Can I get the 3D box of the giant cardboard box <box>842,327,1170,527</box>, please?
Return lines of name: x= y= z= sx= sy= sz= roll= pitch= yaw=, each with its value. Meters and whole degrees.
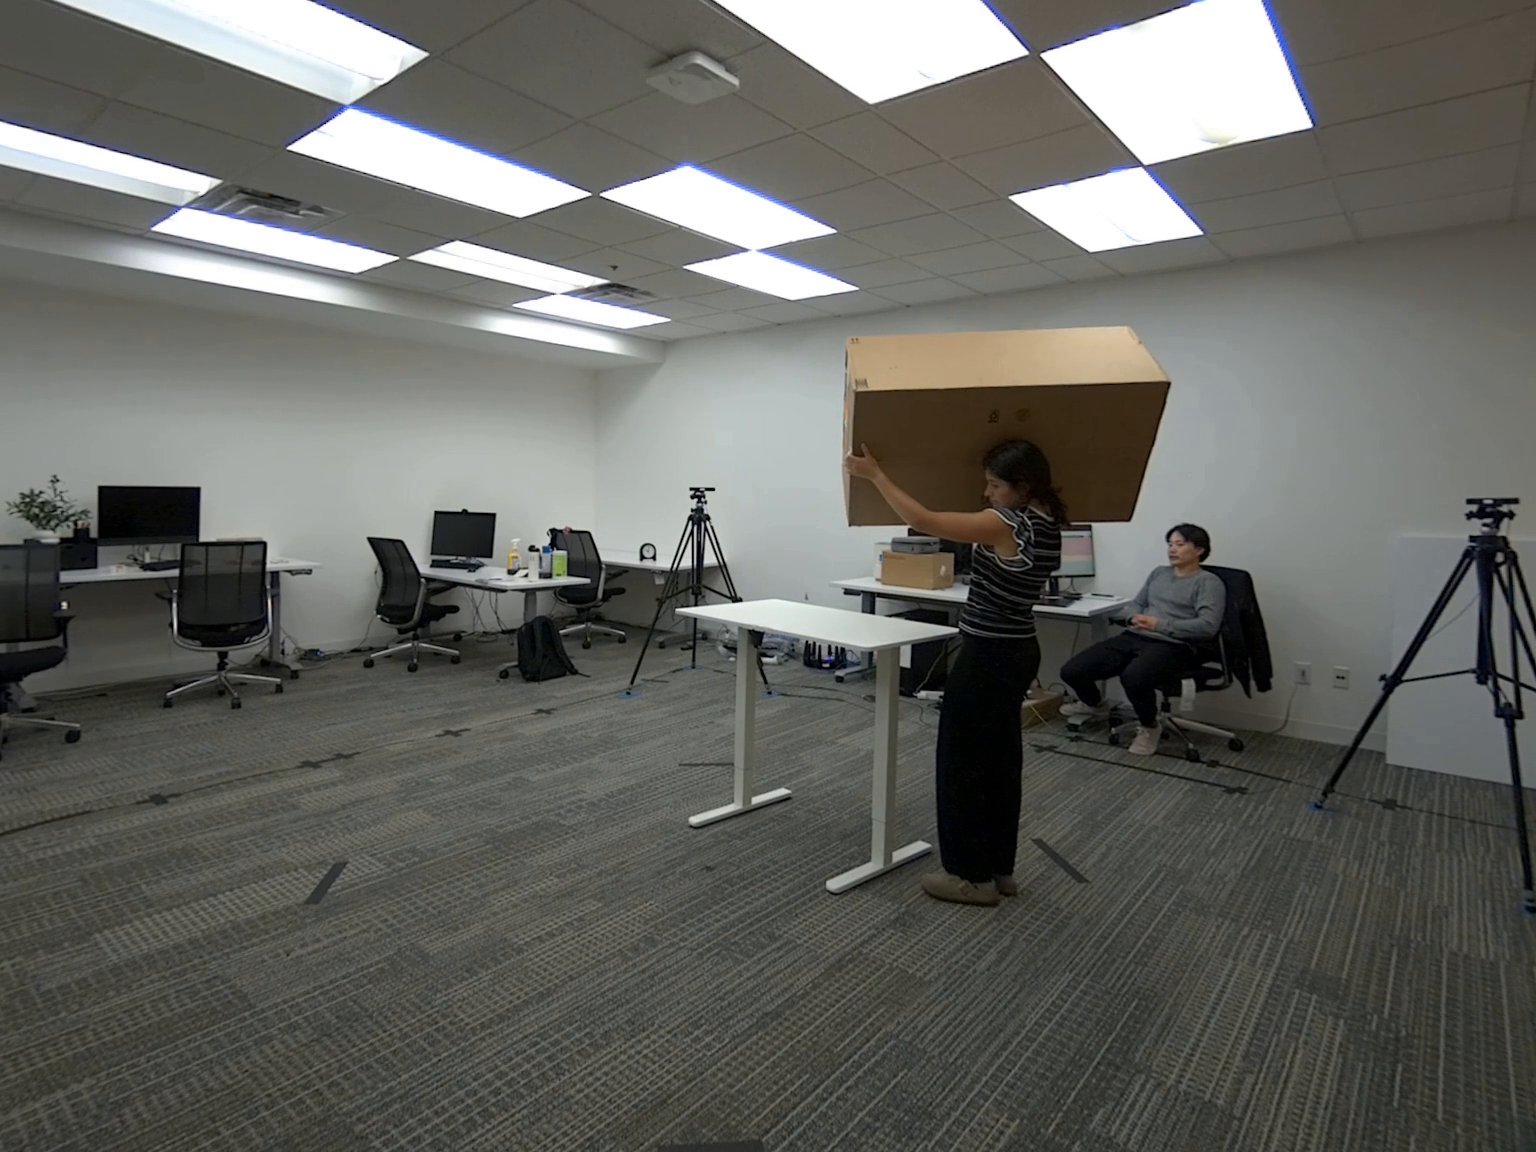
giant cardboard box: x=0.796 y=-0.547 z=3.132 sx=1.031 sy=0.560 sz=0.437 roll=-1 pitch=39 yaw=4
